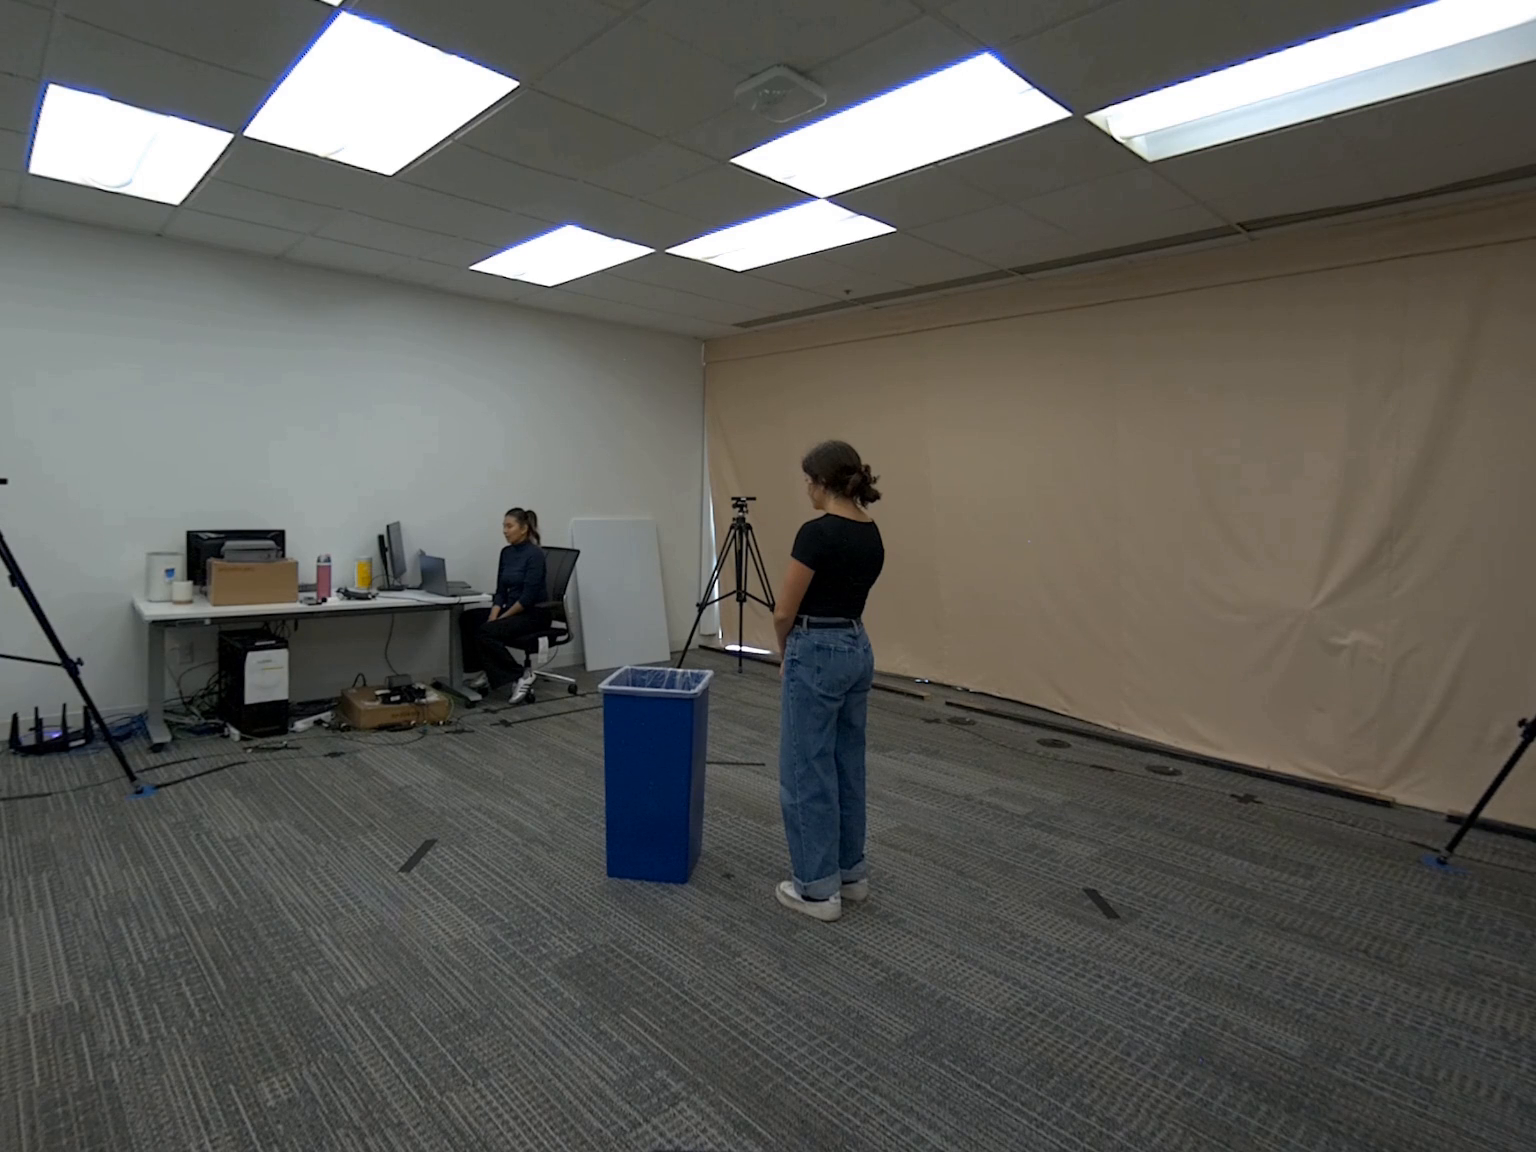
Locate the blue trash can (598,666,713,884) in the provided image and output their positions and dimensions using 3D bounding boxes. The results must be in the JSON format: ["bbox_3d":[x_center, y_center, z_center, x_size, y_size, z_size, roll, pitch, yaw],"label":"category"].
[{"bbox_3d":[-0.430,0.741,3.171,0.381,0.712,0.372,1,3,8],"label":"blue trash can"}]
